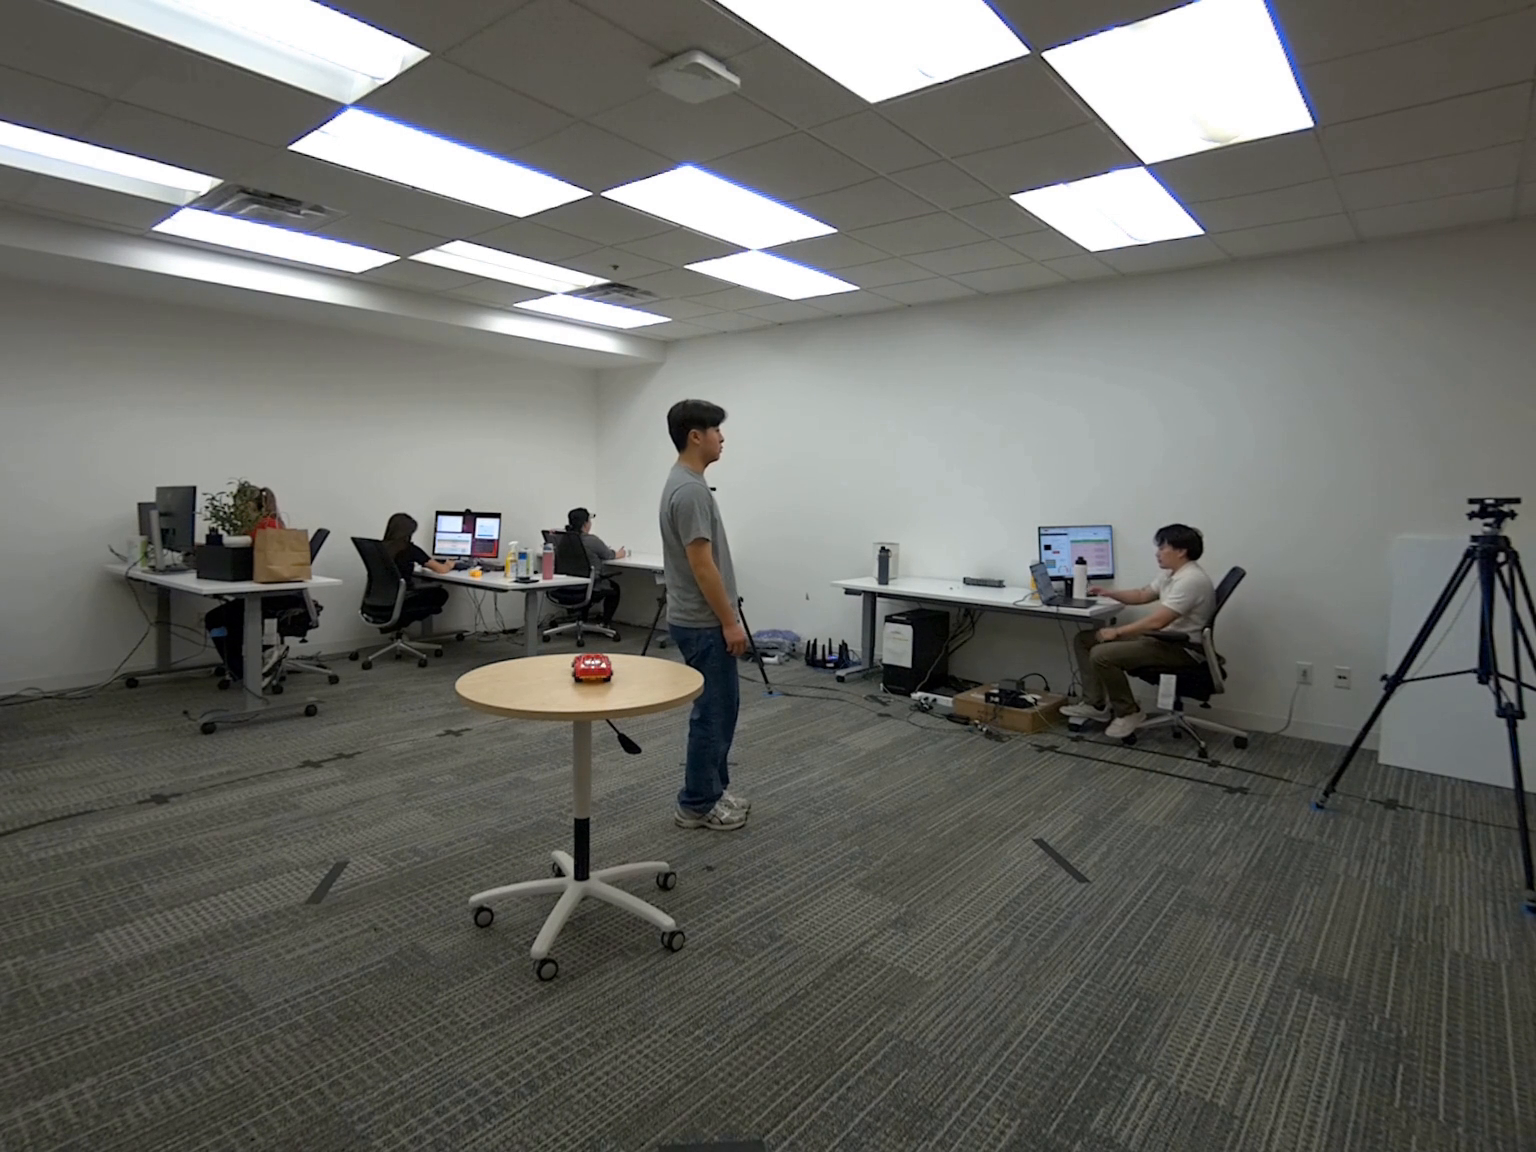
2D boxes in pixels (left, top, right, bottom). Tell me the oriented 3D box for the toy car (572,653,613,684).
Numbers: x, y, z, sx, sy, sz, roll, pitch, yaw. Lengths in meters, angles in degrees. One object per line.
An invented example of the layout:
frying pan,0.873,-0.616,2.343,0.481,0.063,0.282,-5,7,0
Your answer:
toy car,-0.573,0.288,2.686,0.129,0.084,0.256,0,-4,-11
